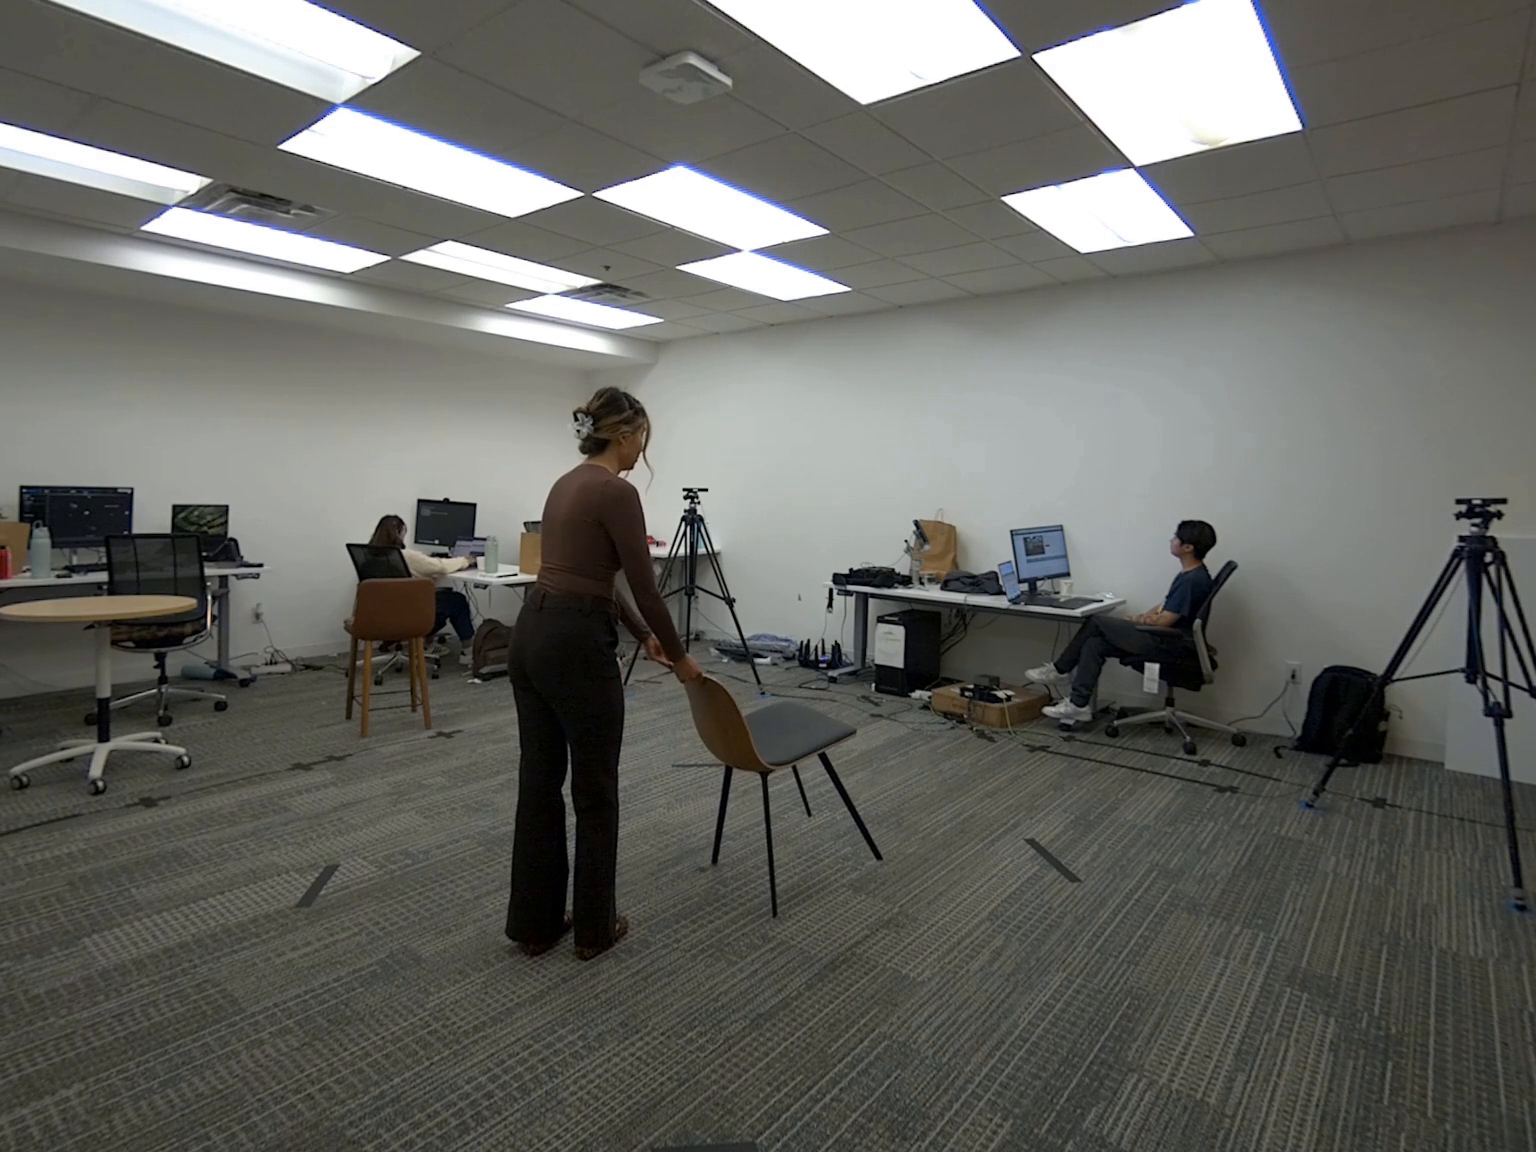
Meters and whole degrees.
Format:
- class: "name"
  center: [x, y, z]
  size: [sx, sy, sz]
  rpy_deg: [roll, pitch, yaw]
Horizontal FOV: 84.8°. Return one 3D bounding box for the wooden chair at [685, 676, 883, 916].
- class: "wooden chair"
  center: [0.010, 0.615, 2.987]
  size: [0.515, 0.866, 0.492]
  rpy_deg: [-21, 13, -27]
